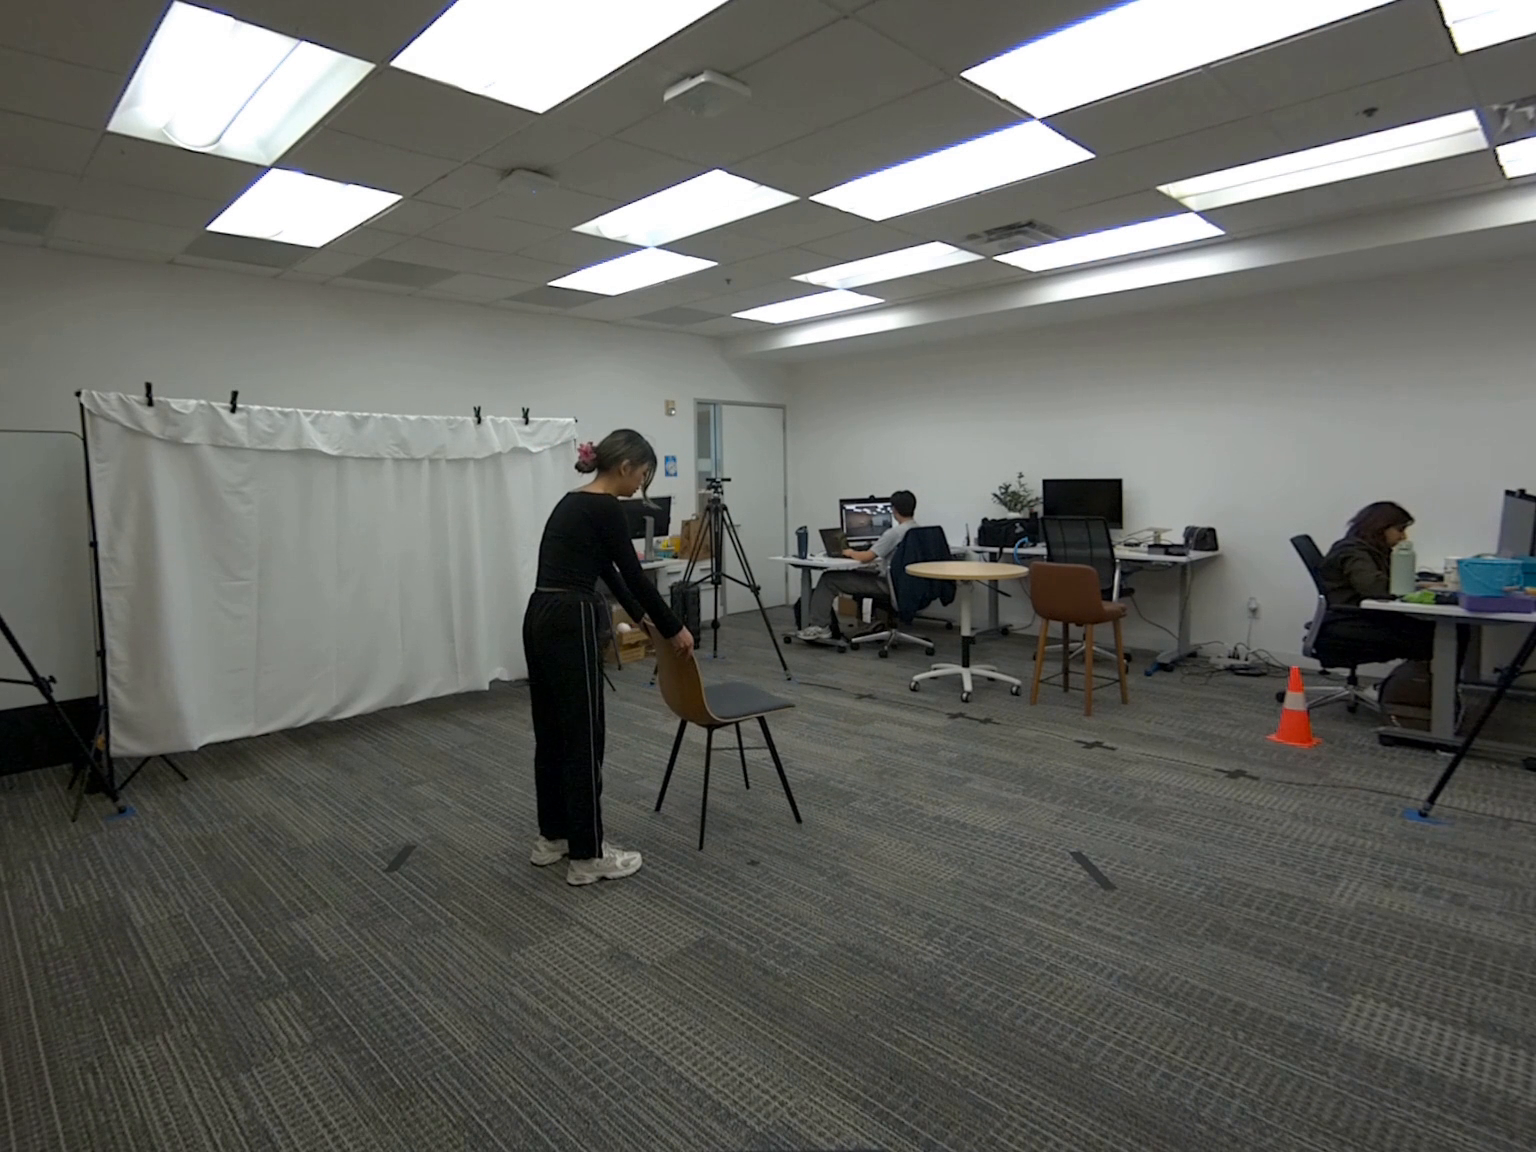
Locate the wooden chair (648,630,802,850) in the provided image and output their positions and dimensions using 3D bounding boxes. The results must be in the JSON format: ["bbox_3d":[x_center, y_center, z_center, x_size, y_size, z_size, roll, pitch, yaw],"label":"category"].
[{"bbox_3d":[-0.188,0.568,3.474,0.513,0.871,0.491,-11,8,-28],"label":"wooden chair"}]
